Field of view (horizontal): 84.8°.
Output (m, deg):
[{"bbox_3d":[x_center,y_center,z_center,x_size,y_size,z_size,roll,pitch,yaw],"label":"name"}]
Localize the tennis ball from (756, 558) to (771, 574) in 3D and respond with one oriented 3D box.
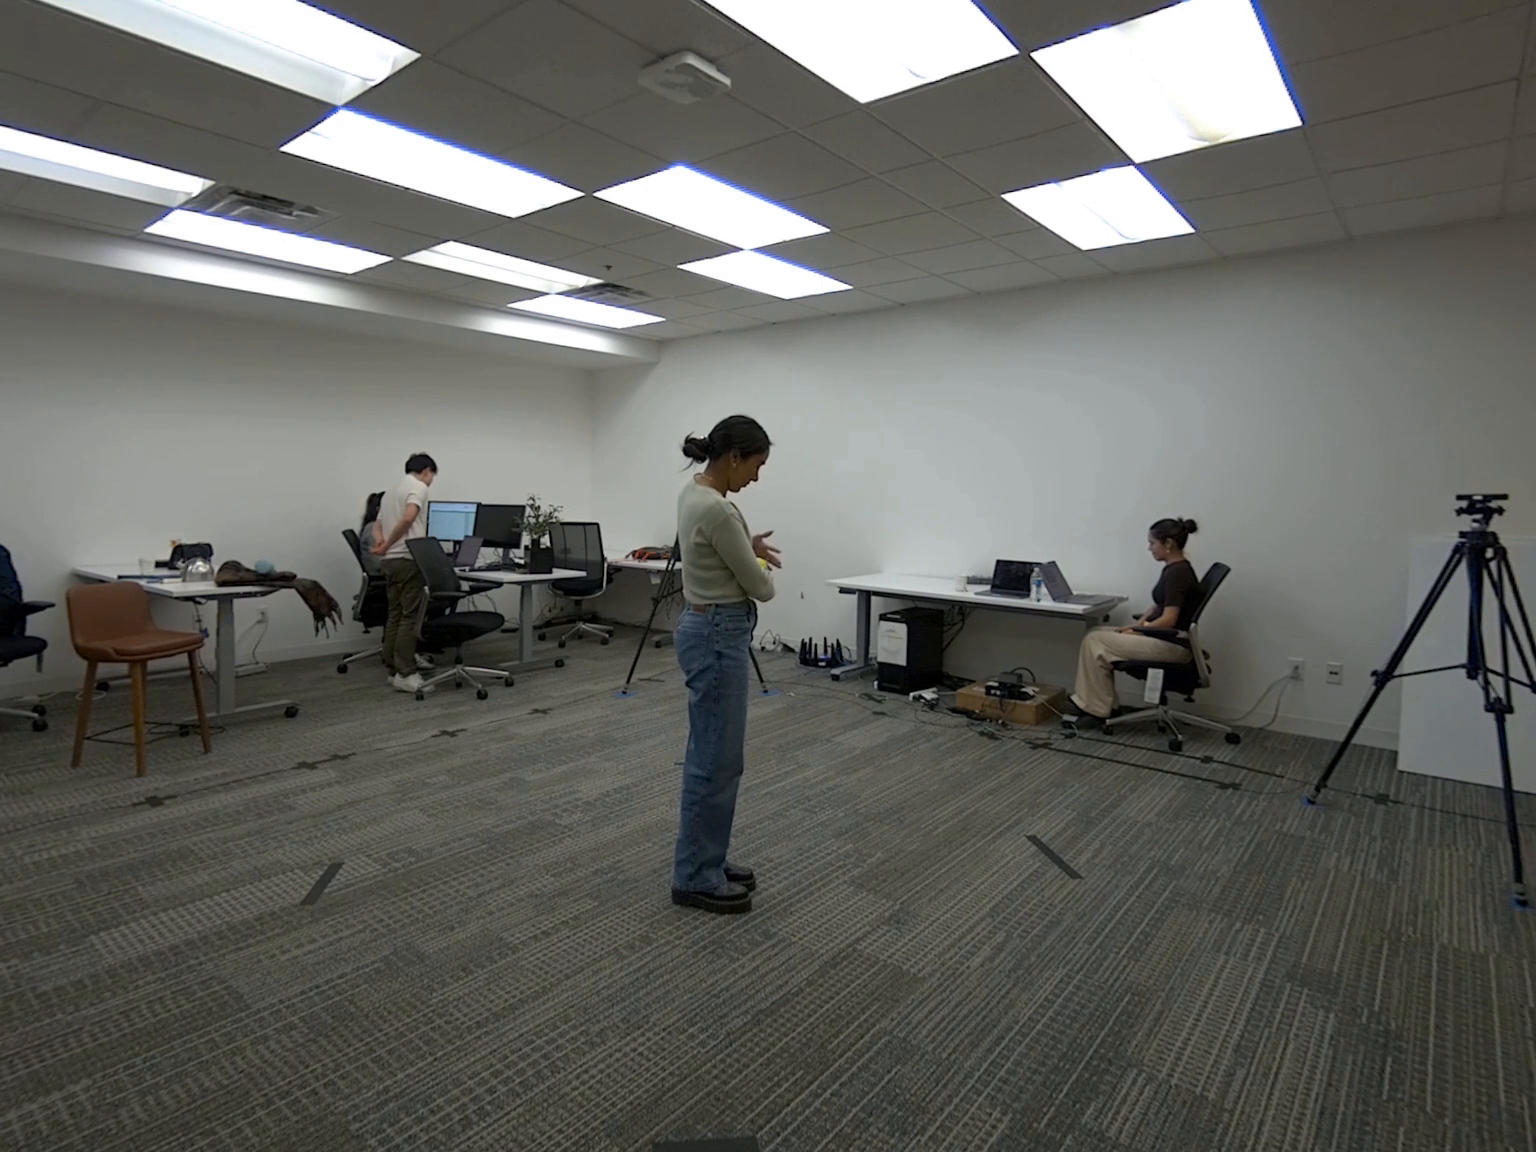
[{"bbox_3d":[-0.053,-0.057,2.851,0.066,0.066,0.067,1,4,-2],"label":"tennis ball"}]
